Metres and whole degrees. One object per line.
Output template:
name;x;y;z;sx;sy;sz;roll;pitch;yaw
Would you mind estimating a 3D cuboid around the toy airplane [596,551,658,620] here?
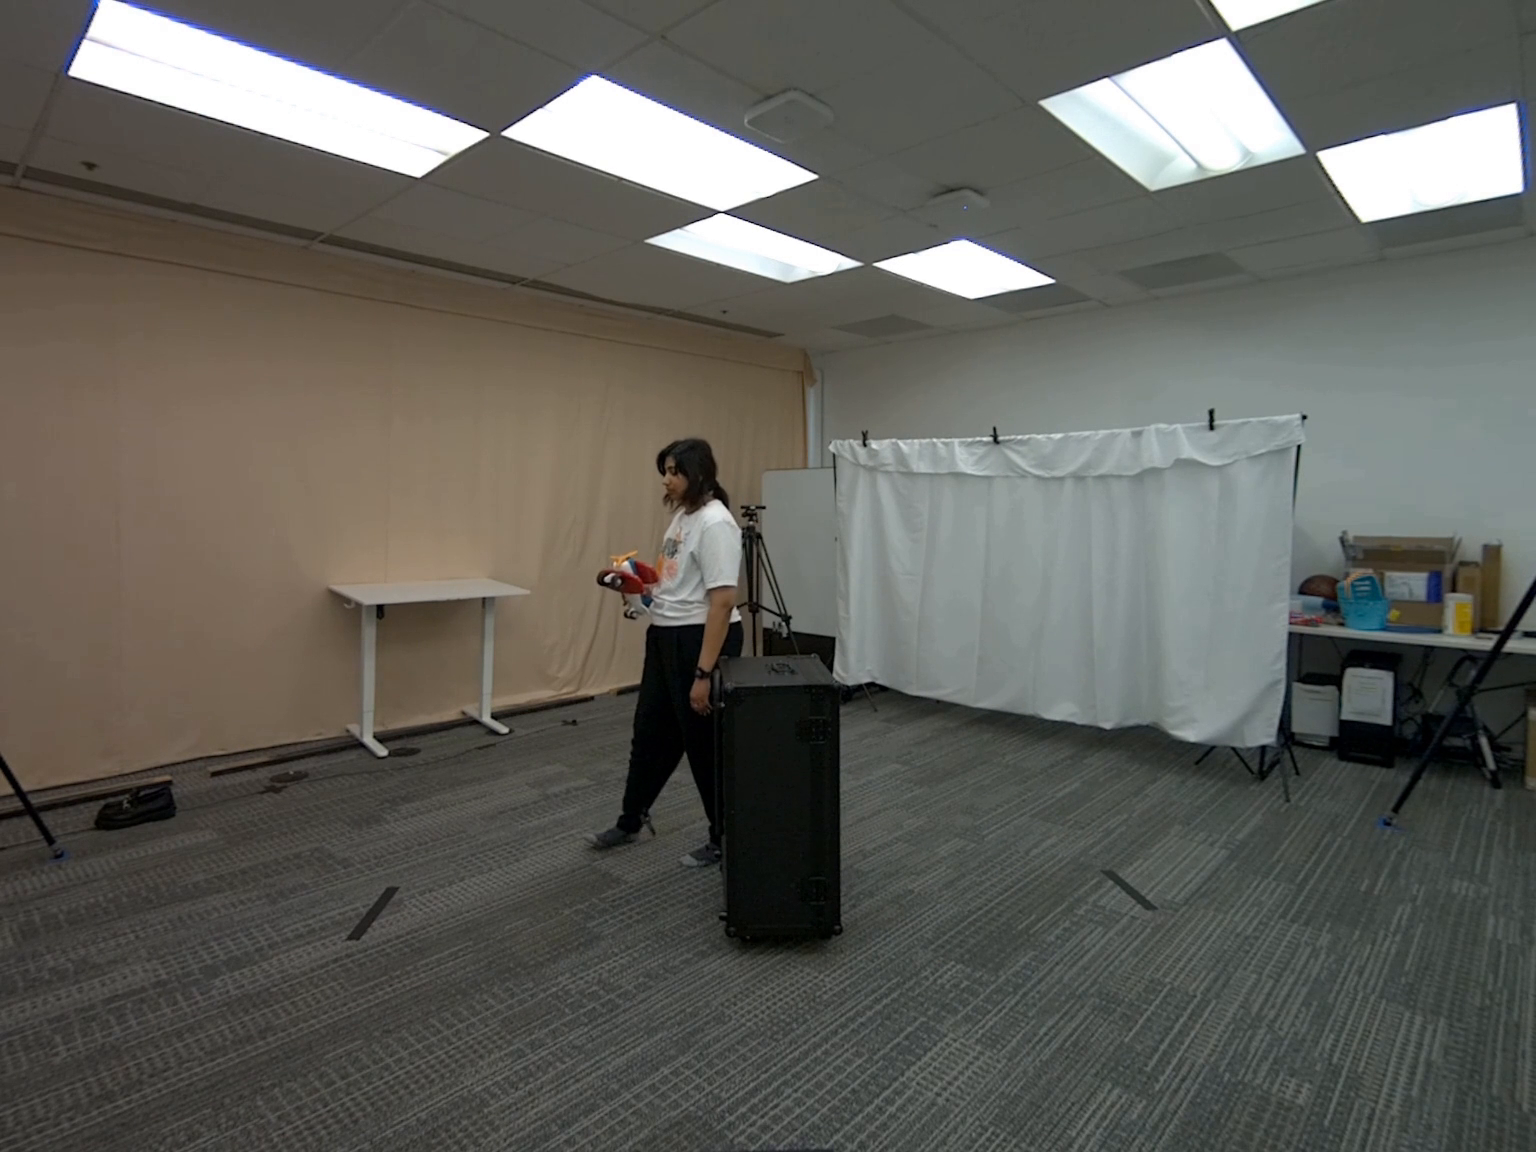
toy airplane;-0.561;0.042;3.286;0.258;0.254;0.155;26;57;22
